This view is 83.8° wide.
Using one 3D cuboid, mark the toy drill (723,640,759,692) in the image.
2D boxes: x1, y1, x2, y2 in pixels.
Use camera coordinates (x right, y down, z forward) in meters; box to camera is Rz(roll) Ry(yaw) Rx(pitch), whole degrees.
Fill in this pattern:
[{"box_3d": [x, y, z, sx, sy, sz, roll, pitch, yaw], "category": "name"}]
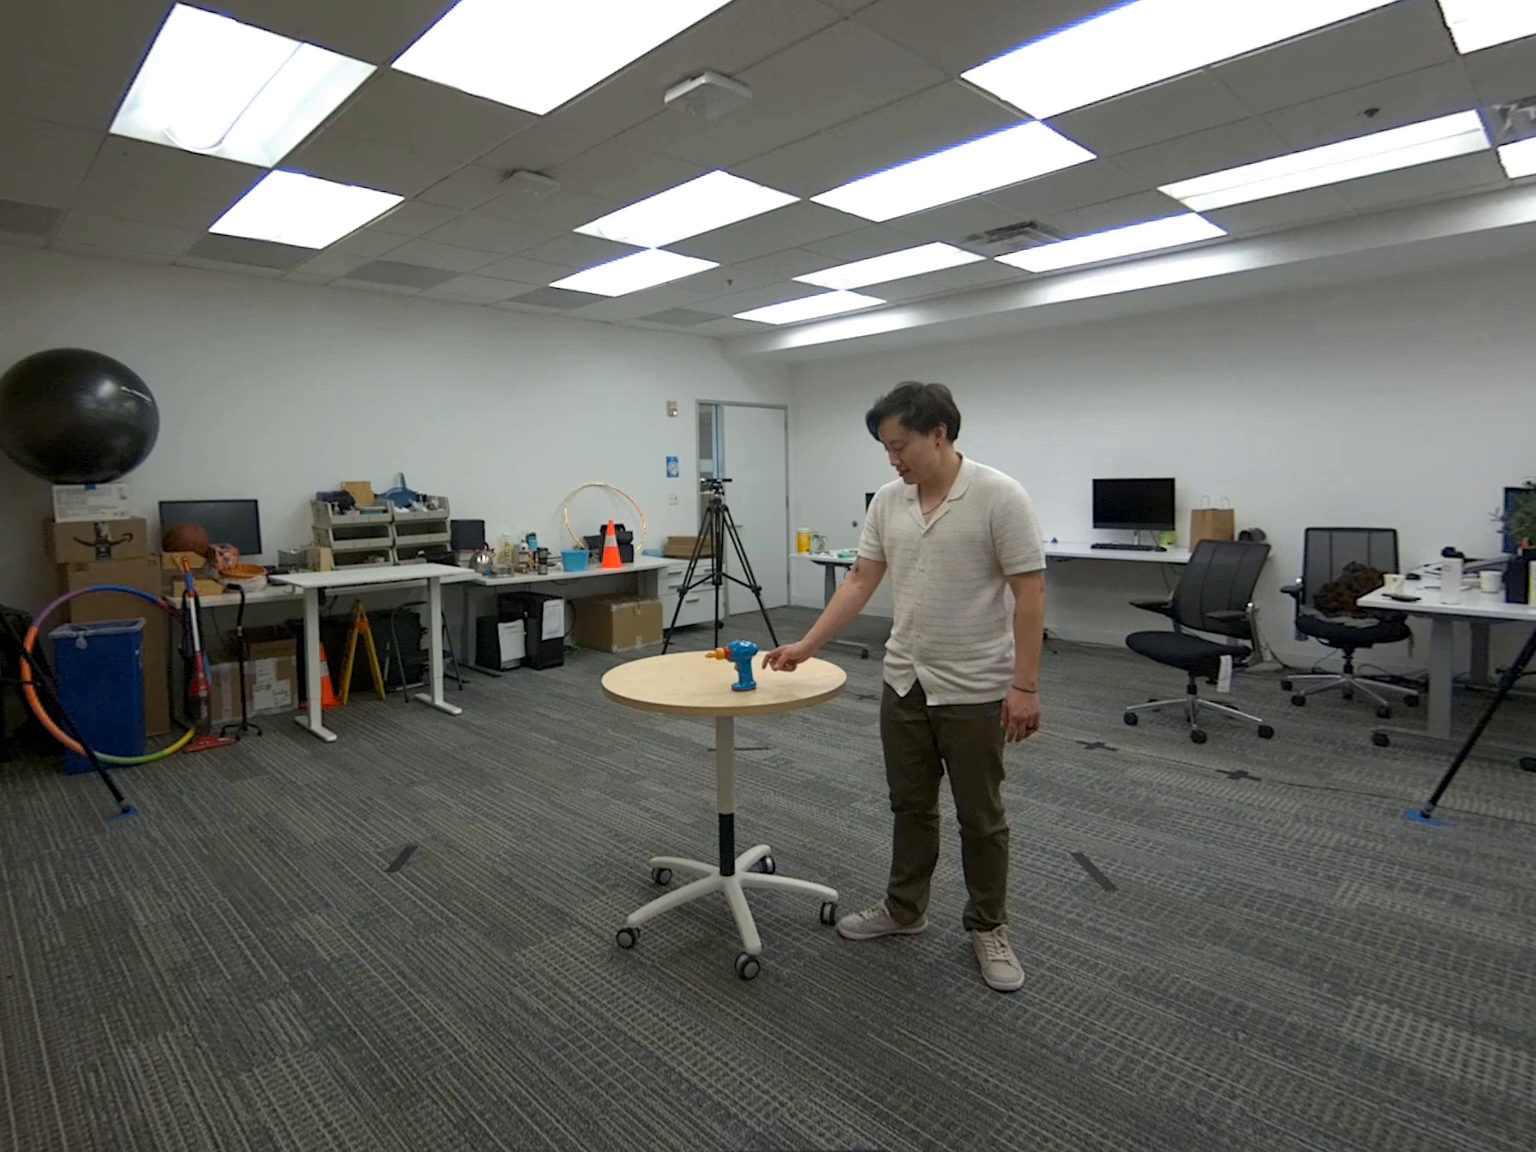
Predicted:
[{"box_3d": [-0.089, 0.261, 2.475, 0.166, 0.146, 0.063, -1, 3, -27], "category": "toy drill"}]
